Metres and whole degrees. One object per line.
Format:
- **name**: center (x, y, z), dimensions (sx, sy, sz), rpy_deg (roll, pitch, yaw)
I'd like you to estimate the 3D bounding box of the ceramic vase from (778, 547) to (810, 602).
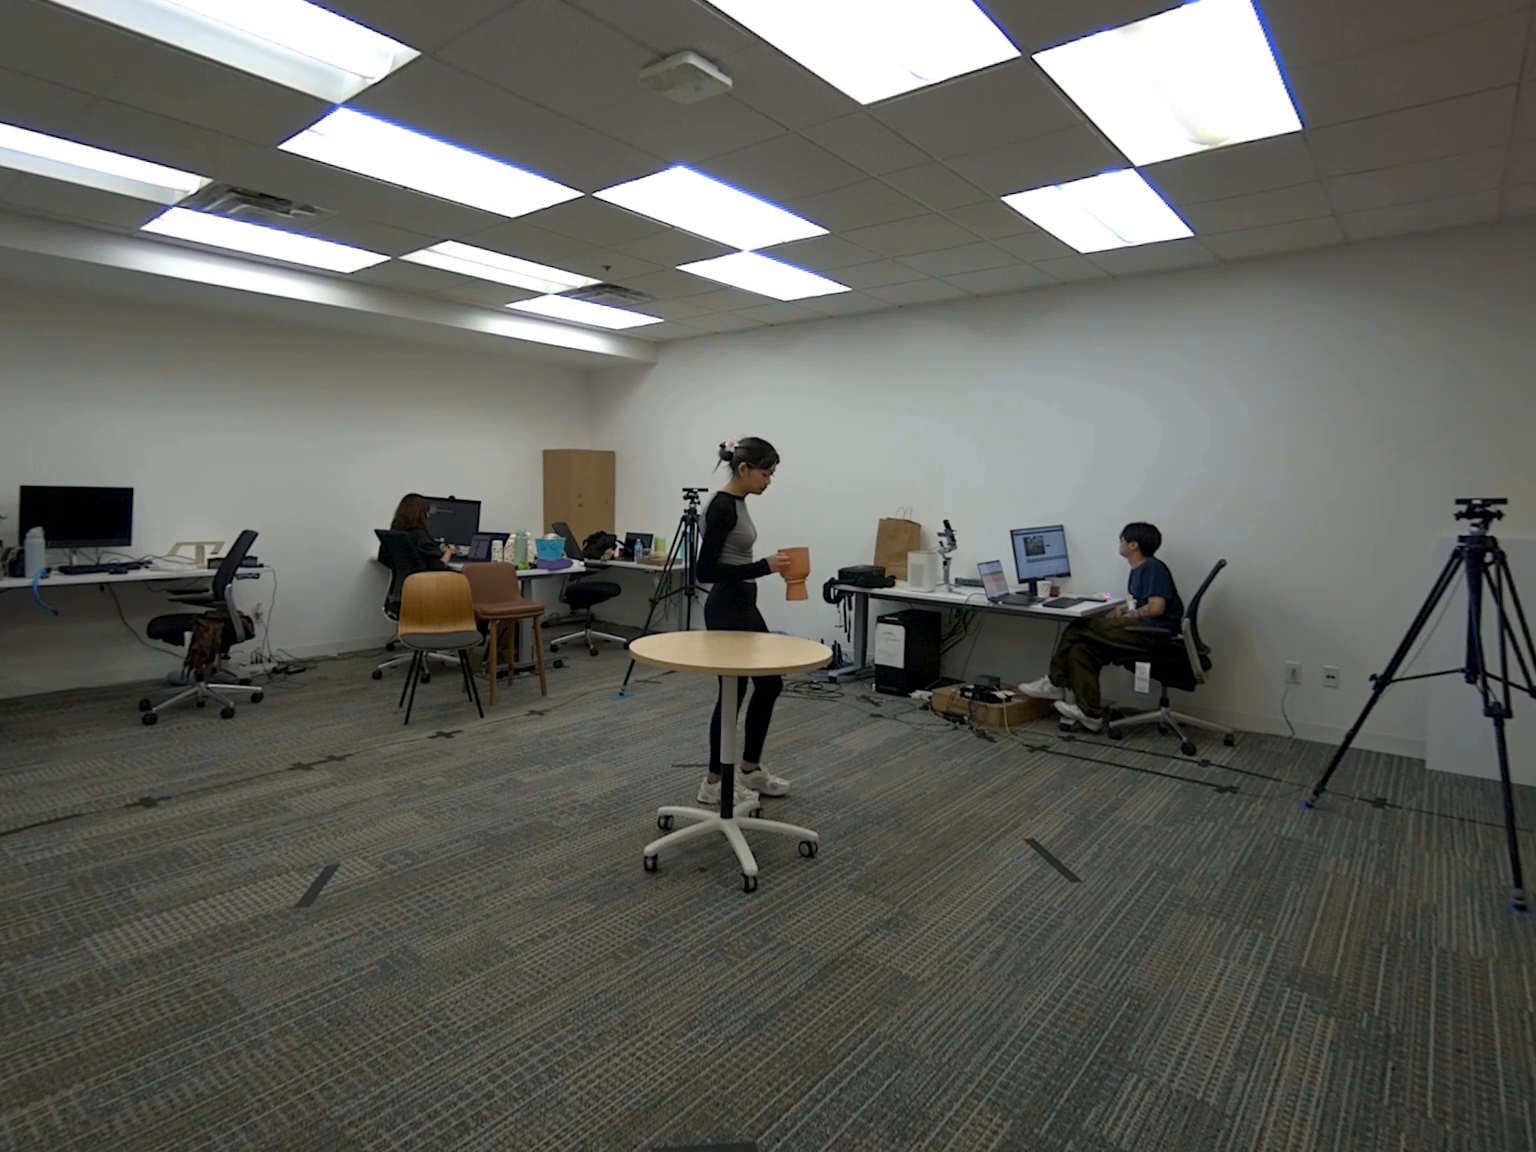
- **ceramic vase**: center (0.102, -0.011, 3.637), dimensions (0.156, 0.220, 0.137), rpy_deg (-5, 1, -21)
